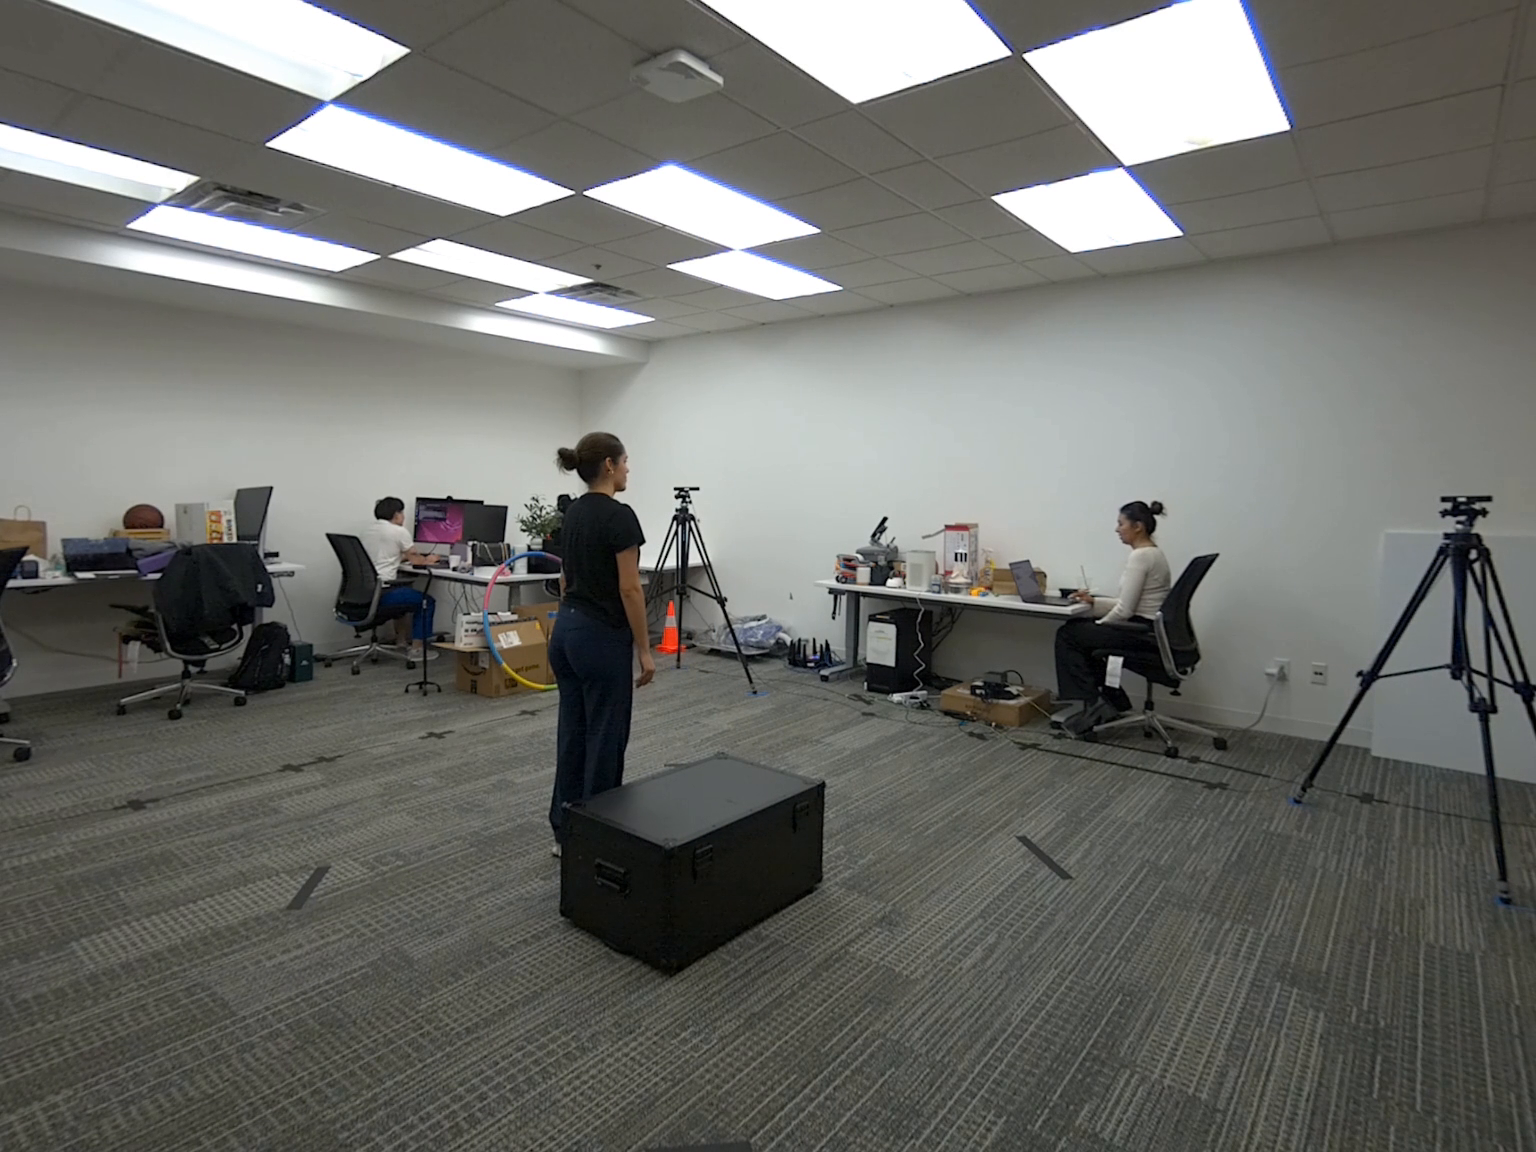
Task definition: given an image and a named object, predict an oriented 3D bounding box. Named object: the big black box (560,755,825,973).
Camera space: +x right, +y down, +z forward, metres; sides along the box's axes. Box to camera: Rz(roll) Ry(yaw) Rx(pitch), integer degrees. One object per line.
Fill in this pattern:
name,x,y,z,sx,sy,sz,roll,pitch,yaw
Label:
big black box,-0.197,0.901,2.862,0.539,0.395,0.837,5,7,39
